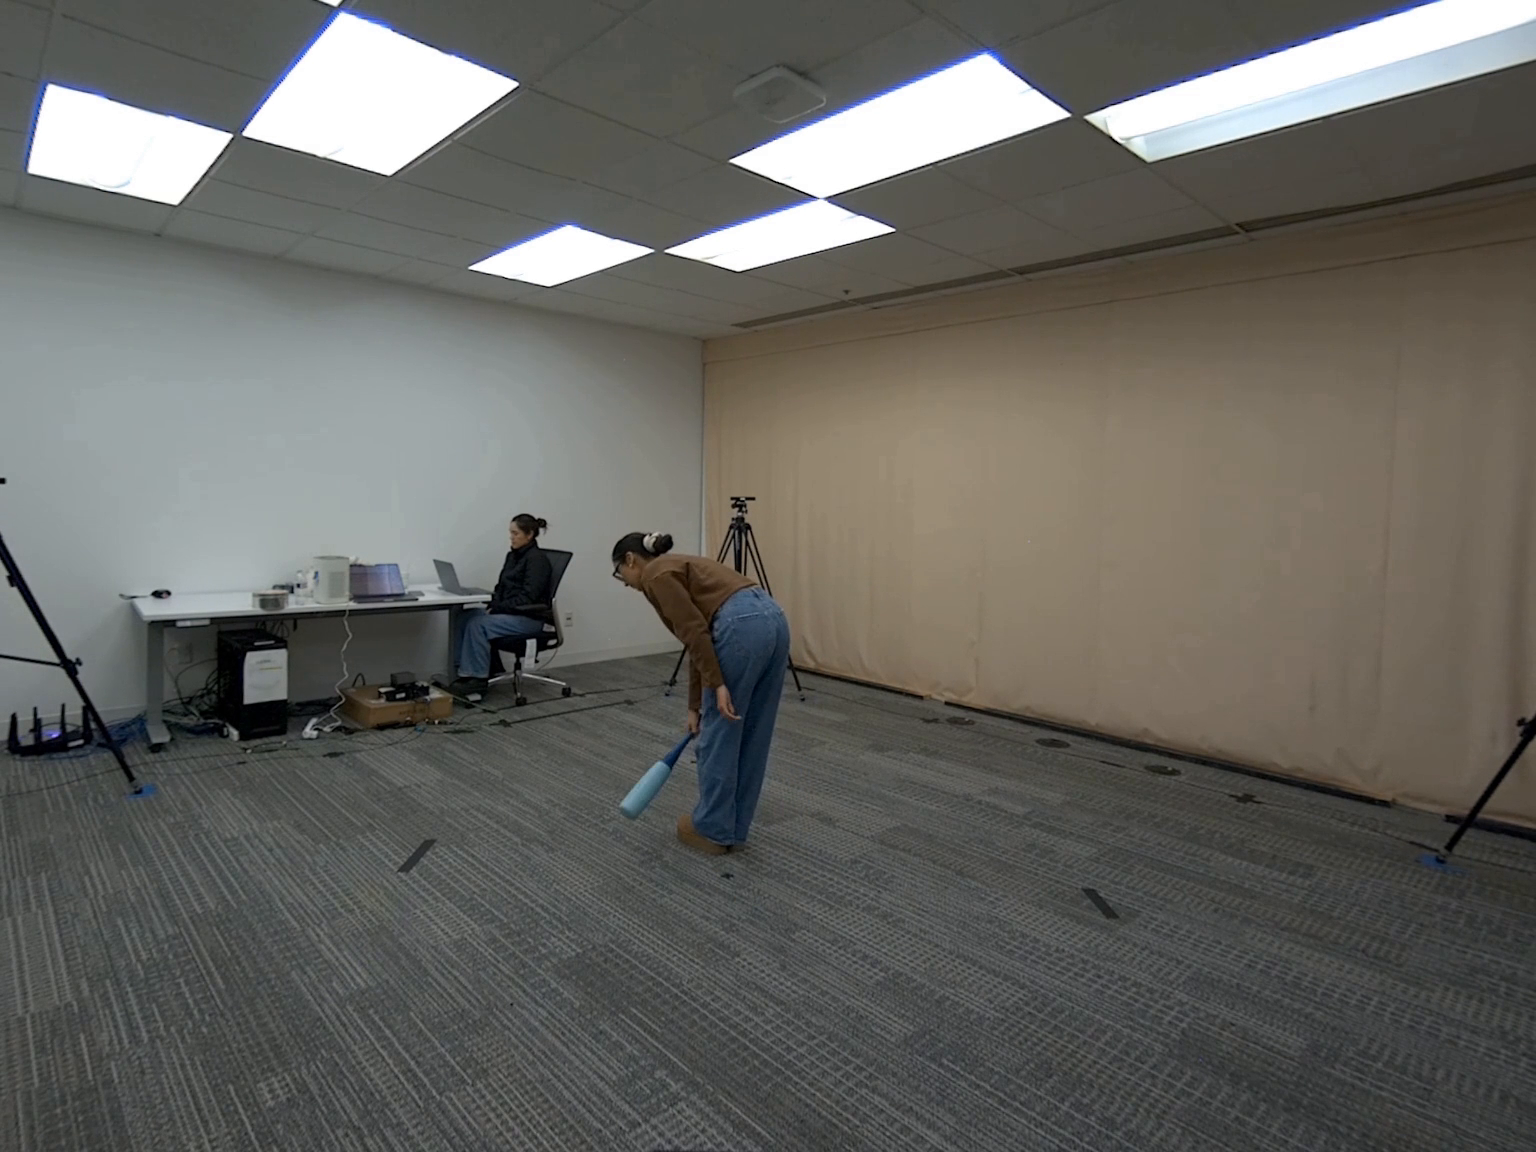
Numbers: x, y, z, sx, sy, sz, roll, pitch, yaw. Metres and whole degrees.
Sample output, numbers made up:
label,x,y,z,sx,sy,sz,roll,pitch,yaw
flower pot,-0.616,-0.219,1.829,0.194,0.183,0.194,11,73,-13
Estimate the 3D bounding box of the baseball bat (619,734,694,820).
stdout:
label,x,y,z,sx,sy,sz,roll,pitch,yaw
baseball bat,-0.412,0.759,3.422,0.091,0.087,0.543,4,40,40
